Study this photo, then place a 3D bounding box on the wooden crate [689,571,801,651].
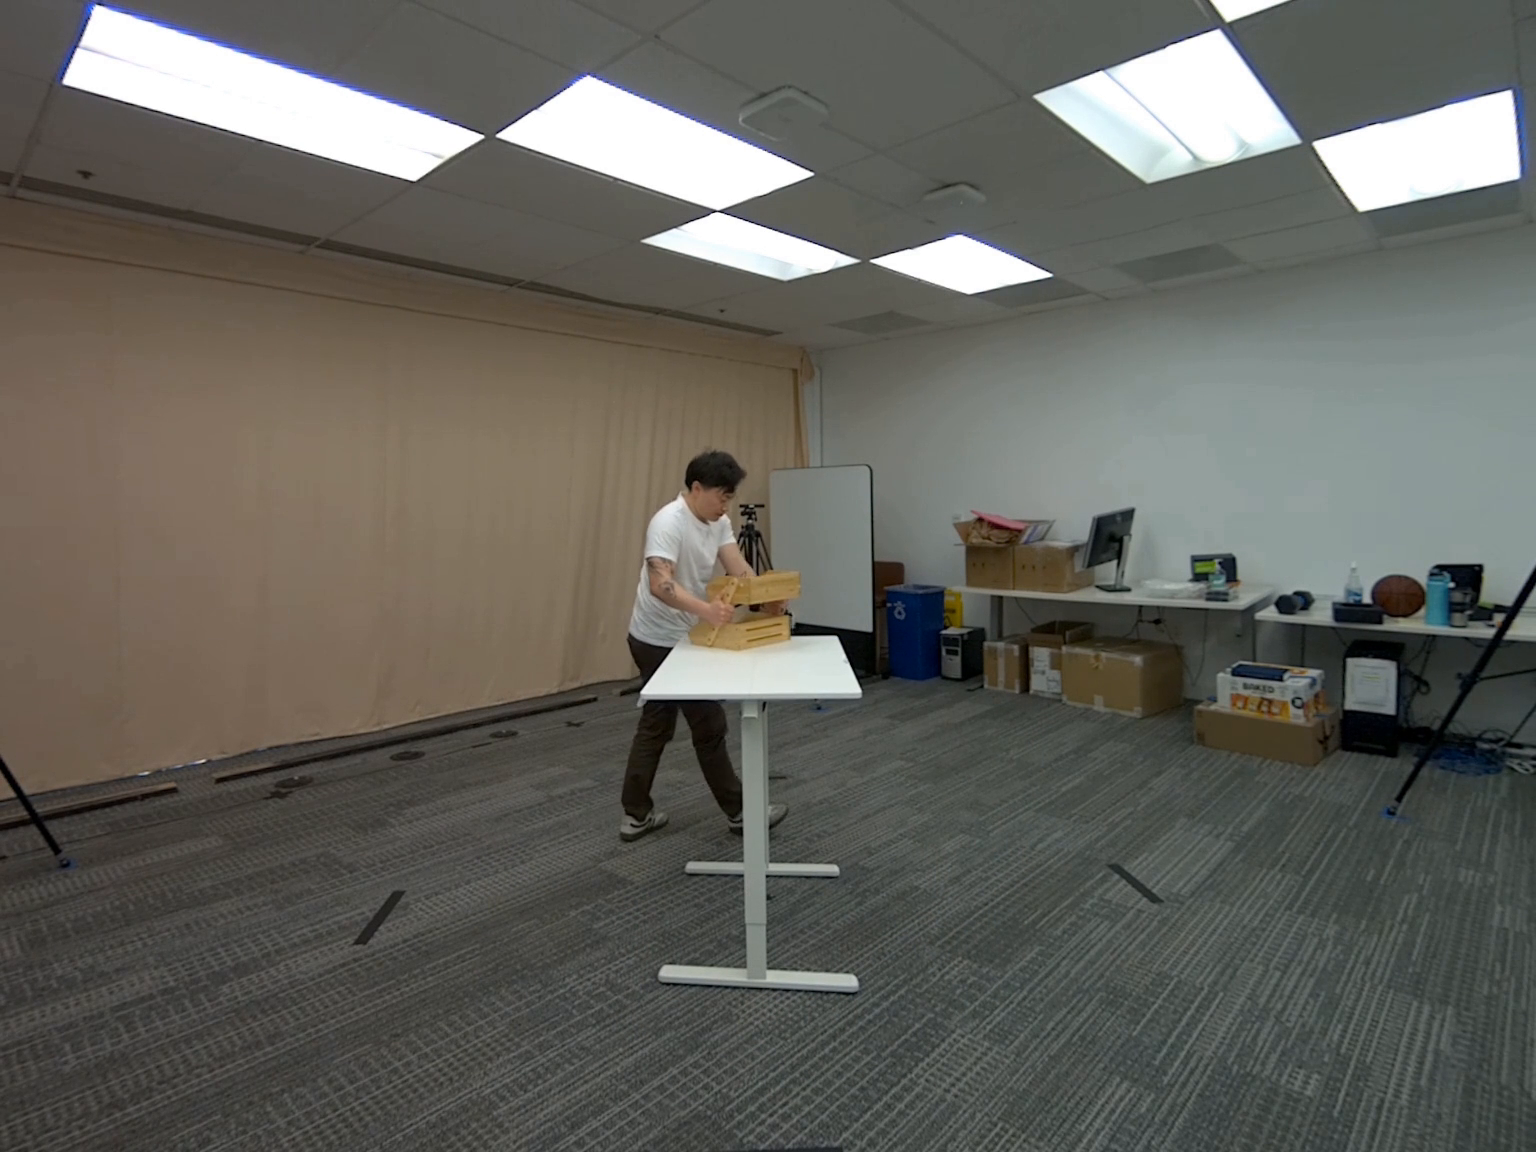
[{"bbox_3d":[-0.081,0.116,3.118,0.312,0.272,0.315,4,6,40],"label":"wooden crate"}]
